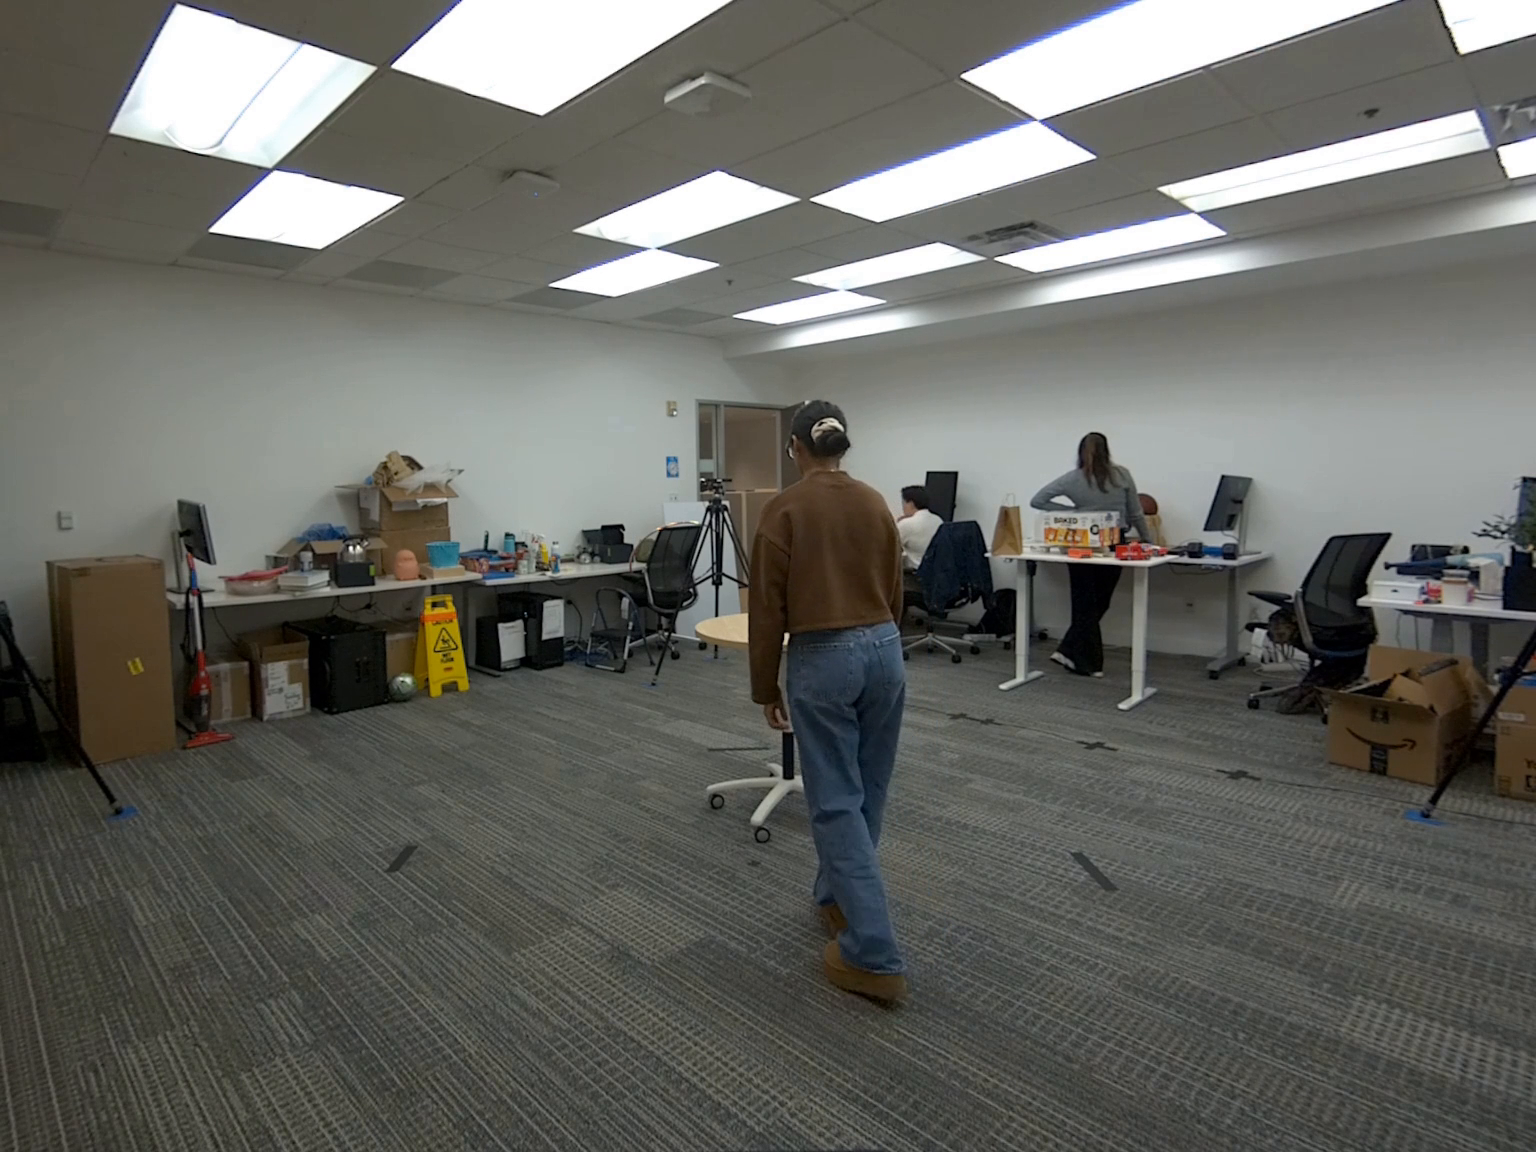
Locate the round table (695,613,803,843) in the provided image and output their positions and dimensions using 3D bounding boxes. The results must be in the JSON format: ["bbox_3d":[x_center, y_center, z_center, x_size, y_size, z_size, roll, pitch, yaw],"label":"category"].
[{"bbox_3d":[0.106,0.596,3.574,0.784,0.783,0.789,-1,5,-2],"label":"round table"}]
